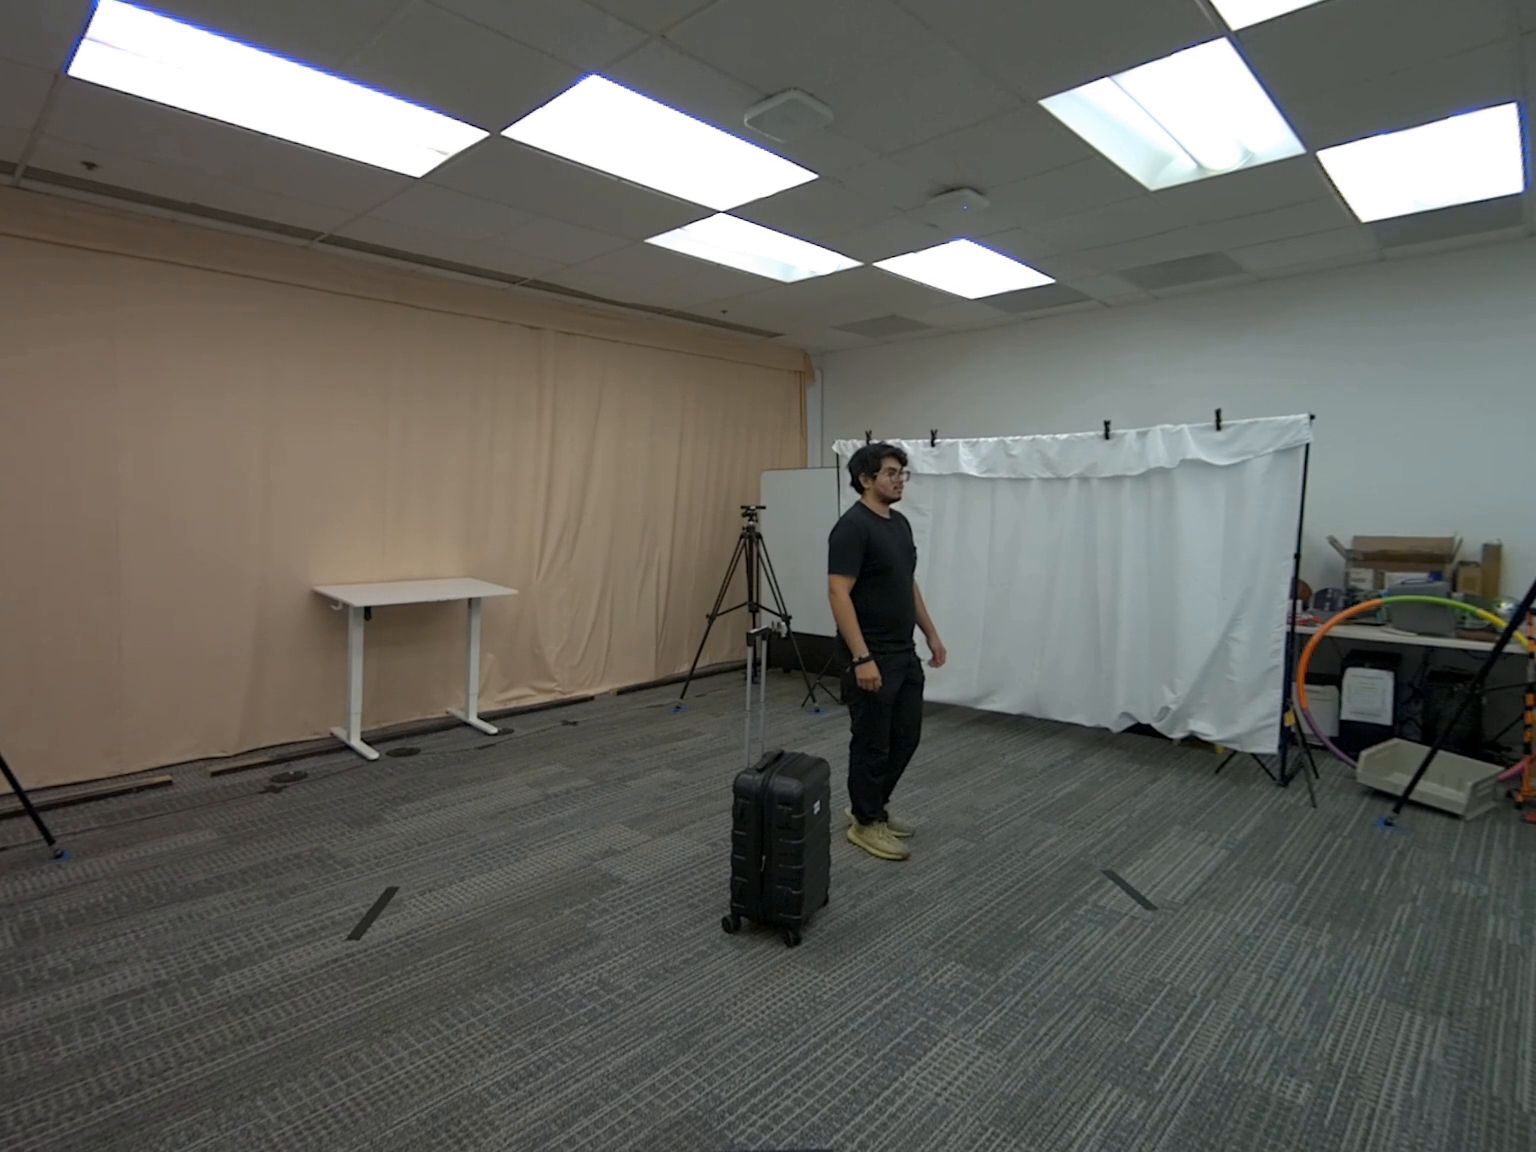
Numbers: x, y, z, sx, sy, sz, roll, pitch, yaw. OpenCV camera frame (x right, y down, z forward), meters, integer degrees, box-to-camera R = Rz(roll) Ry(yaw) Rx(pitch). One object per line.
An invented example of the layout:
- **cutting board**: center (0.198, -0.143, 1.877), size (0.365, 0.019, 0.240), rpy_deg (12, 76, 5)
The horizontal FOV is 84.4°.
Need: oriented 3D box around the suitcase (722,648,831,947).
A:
- **suitcase**: center (0.061, 0.685, 2.803), size (0.263, 0.976, 0.376), rpy_deg (5, 5, 20)
